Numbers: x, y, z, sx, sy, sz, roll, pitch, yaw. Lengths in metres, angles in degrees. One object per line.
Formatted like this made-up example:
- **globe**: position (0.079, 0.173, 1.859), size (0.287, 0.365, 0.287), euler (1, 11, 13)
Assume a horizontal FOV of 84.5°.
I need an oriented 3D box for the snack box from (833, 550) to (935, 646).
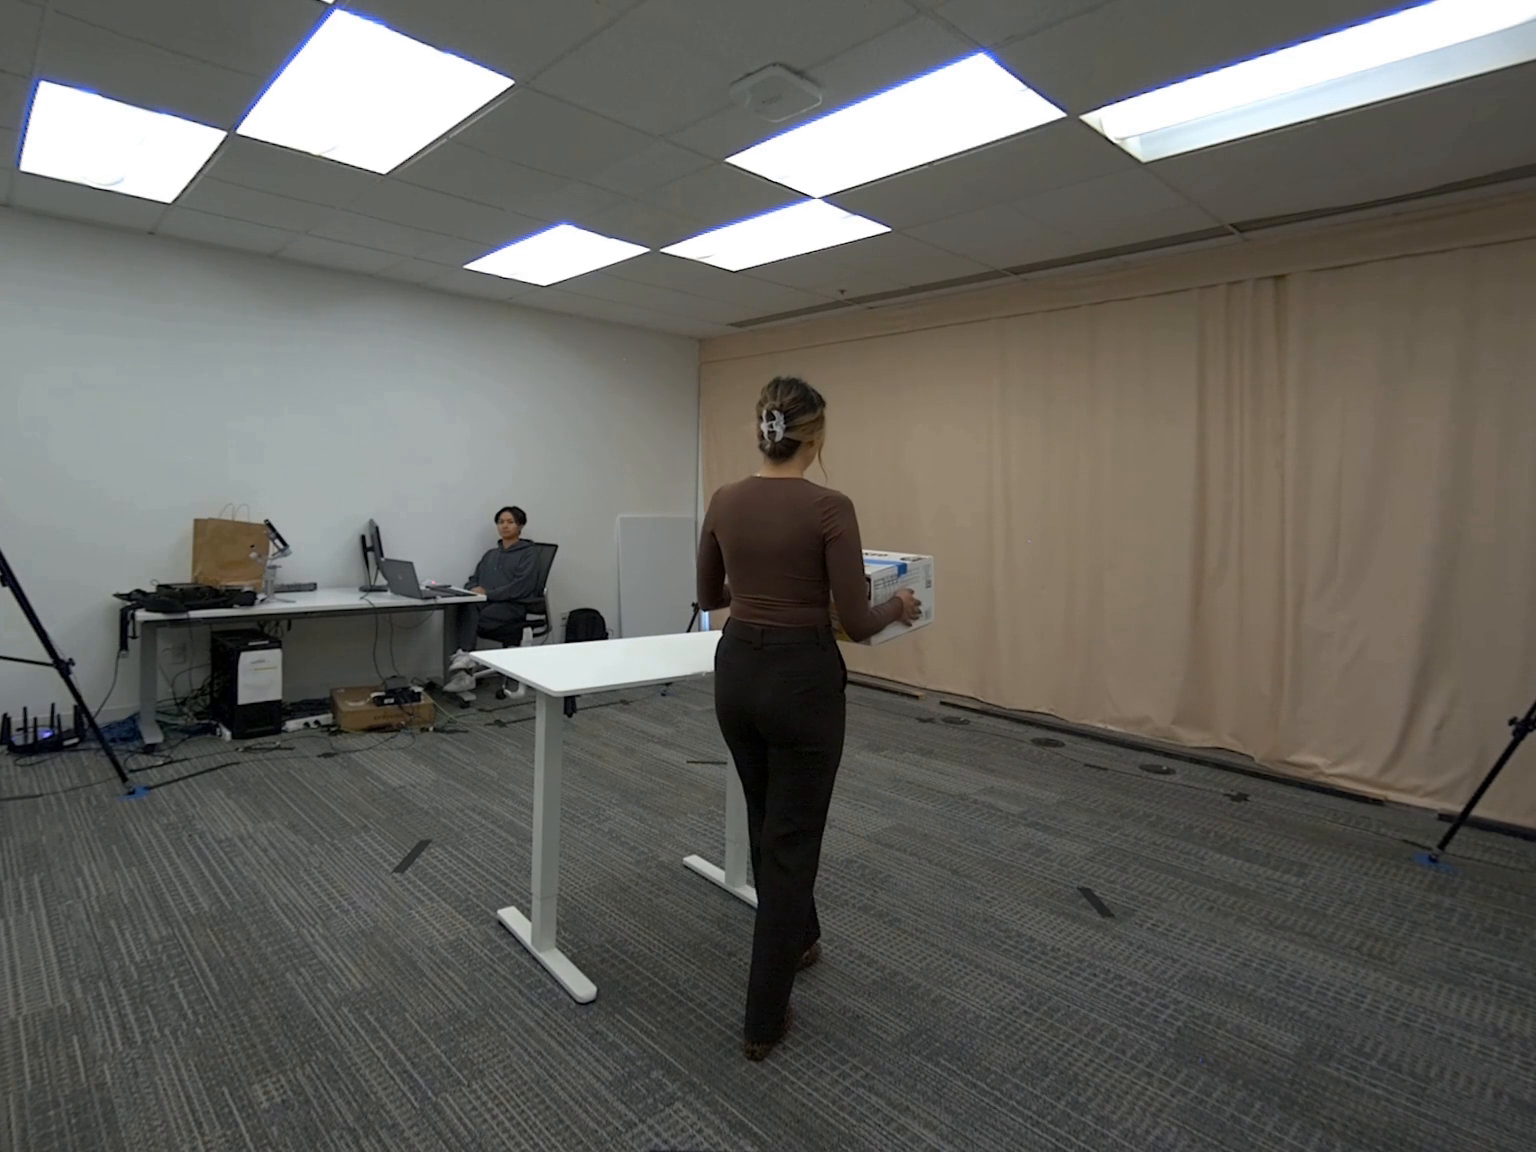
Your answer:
- **snack box**: position (0.225, 0.049, 2.508), size (0.416, 0.204, 0.334), euler (7, 13, 41)
